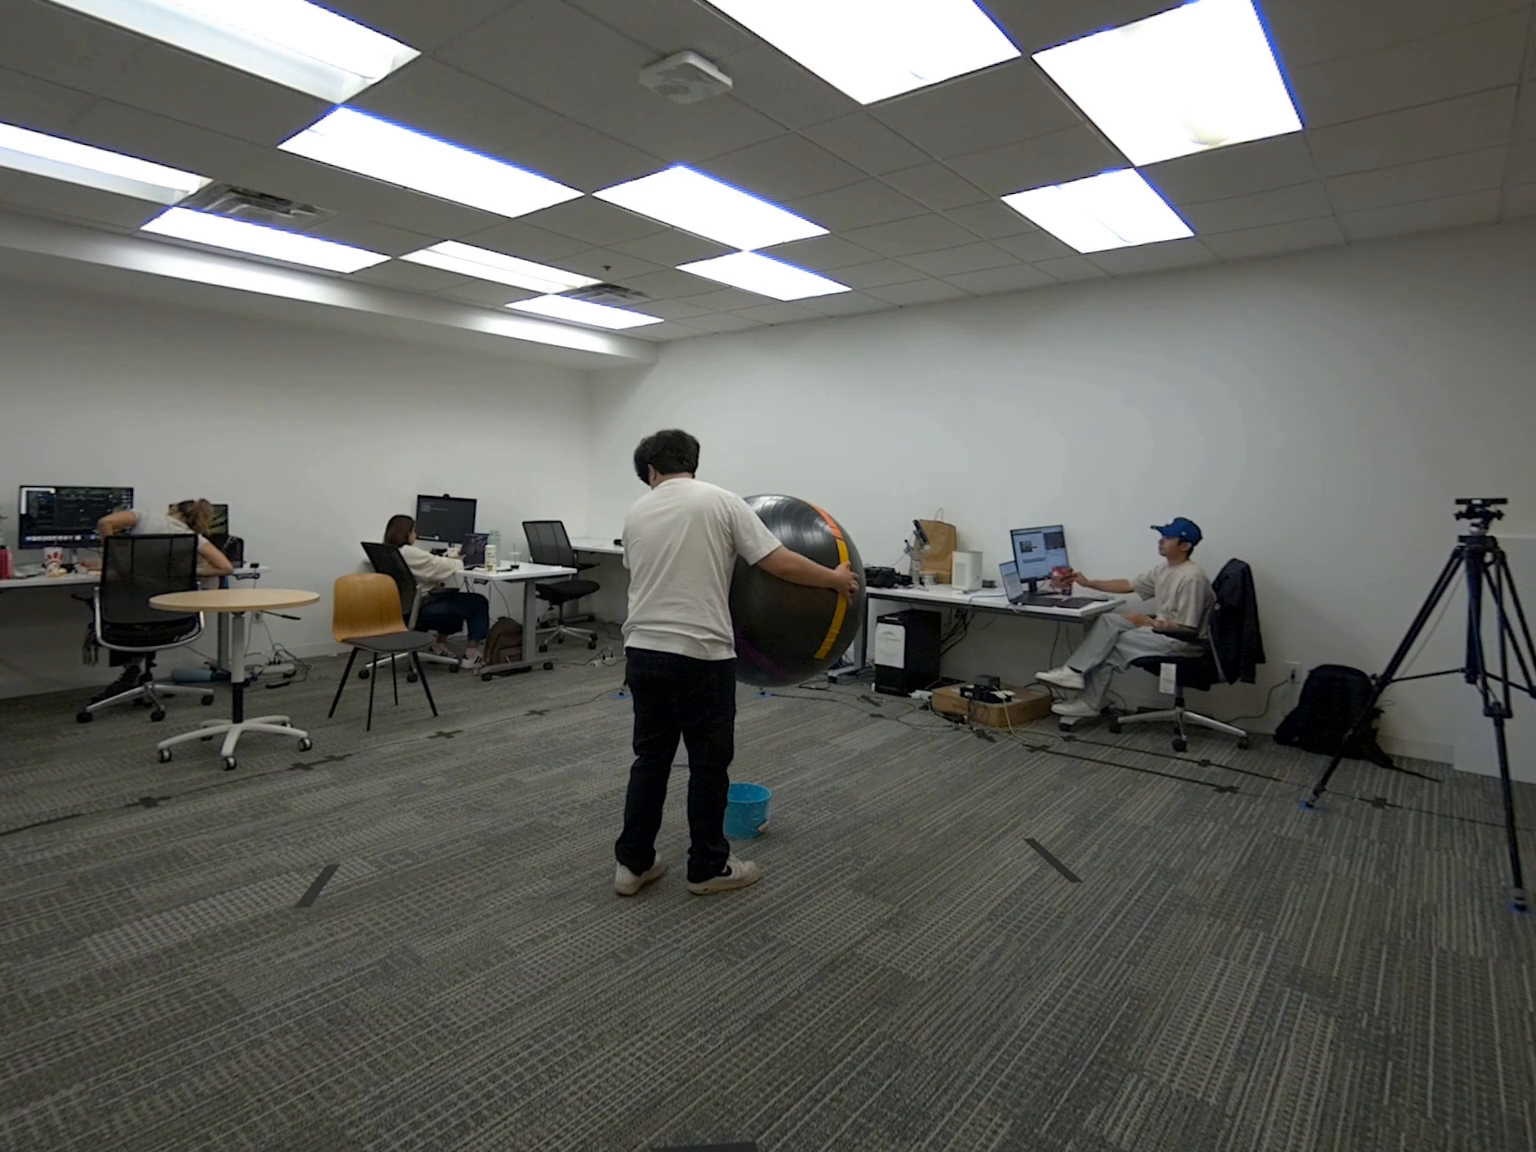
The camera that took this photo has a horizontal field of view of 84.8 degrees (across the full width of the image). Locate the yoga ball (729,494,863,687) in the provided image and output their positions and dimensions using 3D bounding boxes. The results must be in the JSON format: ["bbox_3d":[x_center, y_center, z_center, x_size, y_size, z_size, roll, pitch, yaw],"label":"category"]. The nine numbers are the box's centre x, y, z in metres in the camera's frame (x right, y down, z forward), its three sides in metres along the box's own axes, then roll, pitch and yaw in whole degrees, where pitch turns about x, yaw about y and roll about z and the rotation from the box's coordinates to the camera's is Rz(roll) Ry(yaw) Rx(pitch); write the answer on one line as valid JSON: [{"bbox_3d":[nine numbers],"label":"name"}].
[{"bbox_3d":[0.010,0.052,3.380,0.757,0.755,0.762,1,4,-2],"label":"yoga ball"}]
